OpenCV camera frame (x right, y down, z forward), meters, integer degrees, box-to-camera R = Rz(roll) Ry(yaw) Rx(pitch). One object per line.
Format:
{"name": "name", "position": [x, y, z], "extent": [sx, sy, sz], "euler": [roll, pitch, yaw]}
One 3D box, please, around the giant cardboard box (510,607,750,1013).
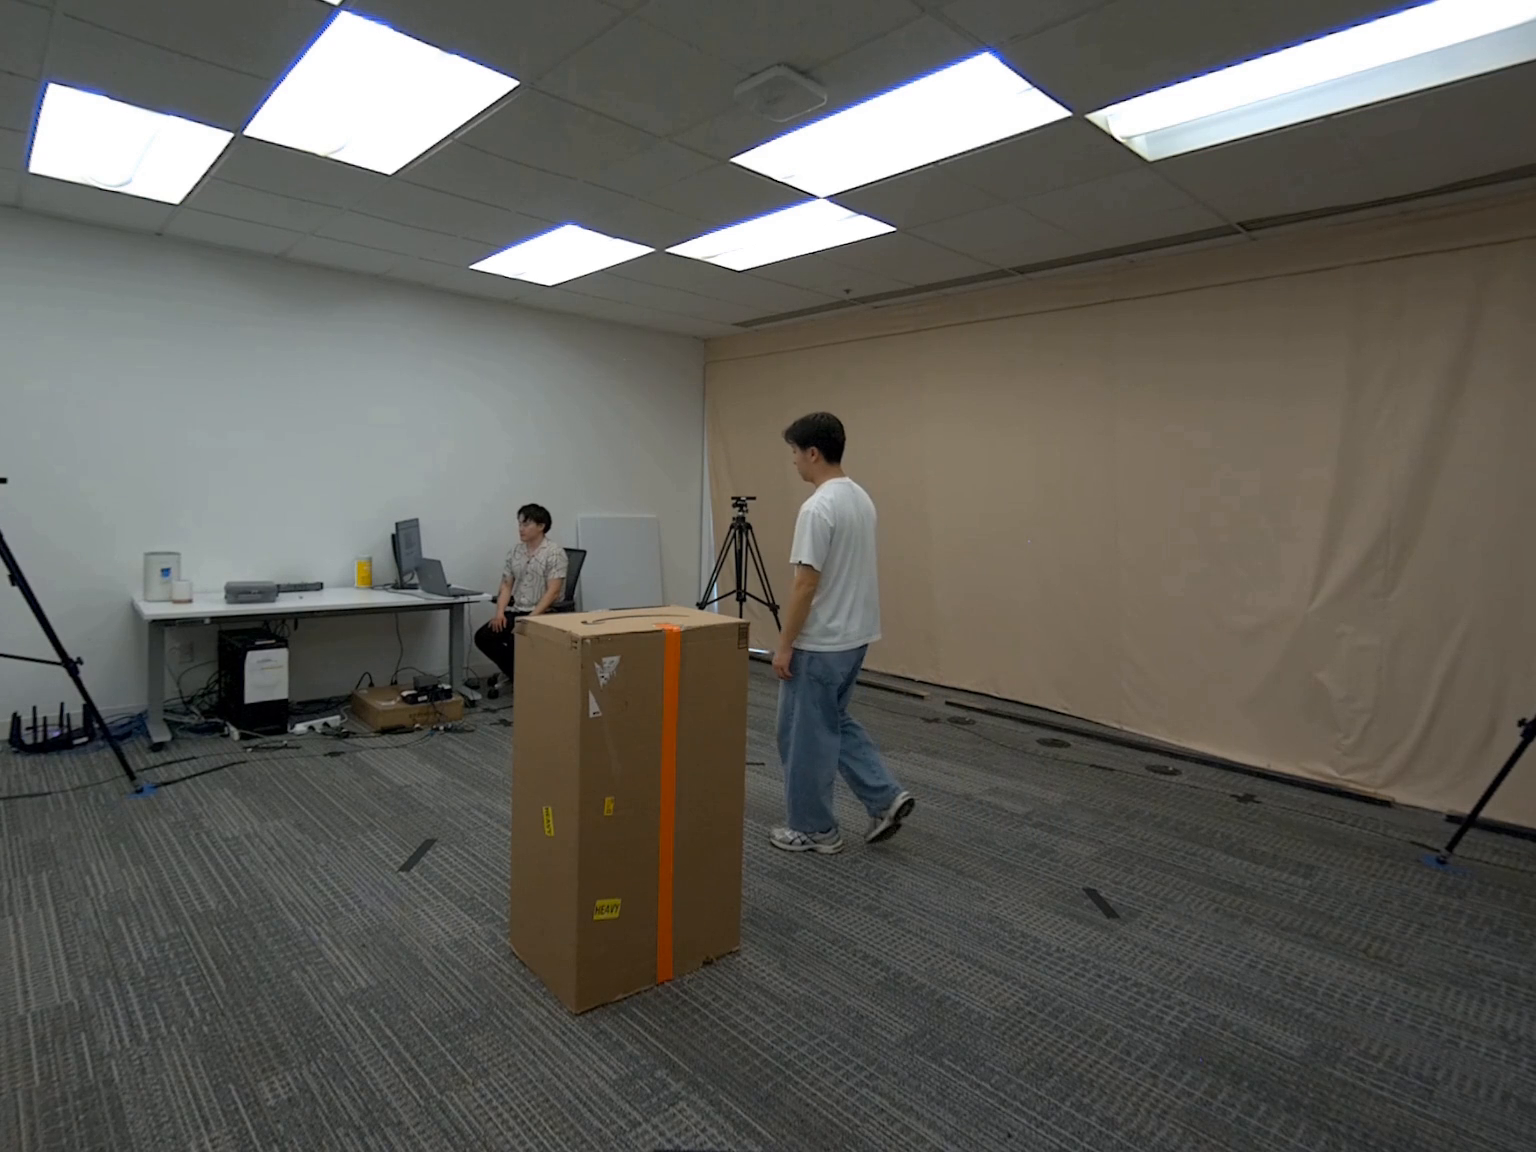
{"name": "giant cardboard box", "position": [-0.422, 0.642, 2.555], "extent": [0.564, 1.023, 0.437], "euler": [-1, 4, -39]}
